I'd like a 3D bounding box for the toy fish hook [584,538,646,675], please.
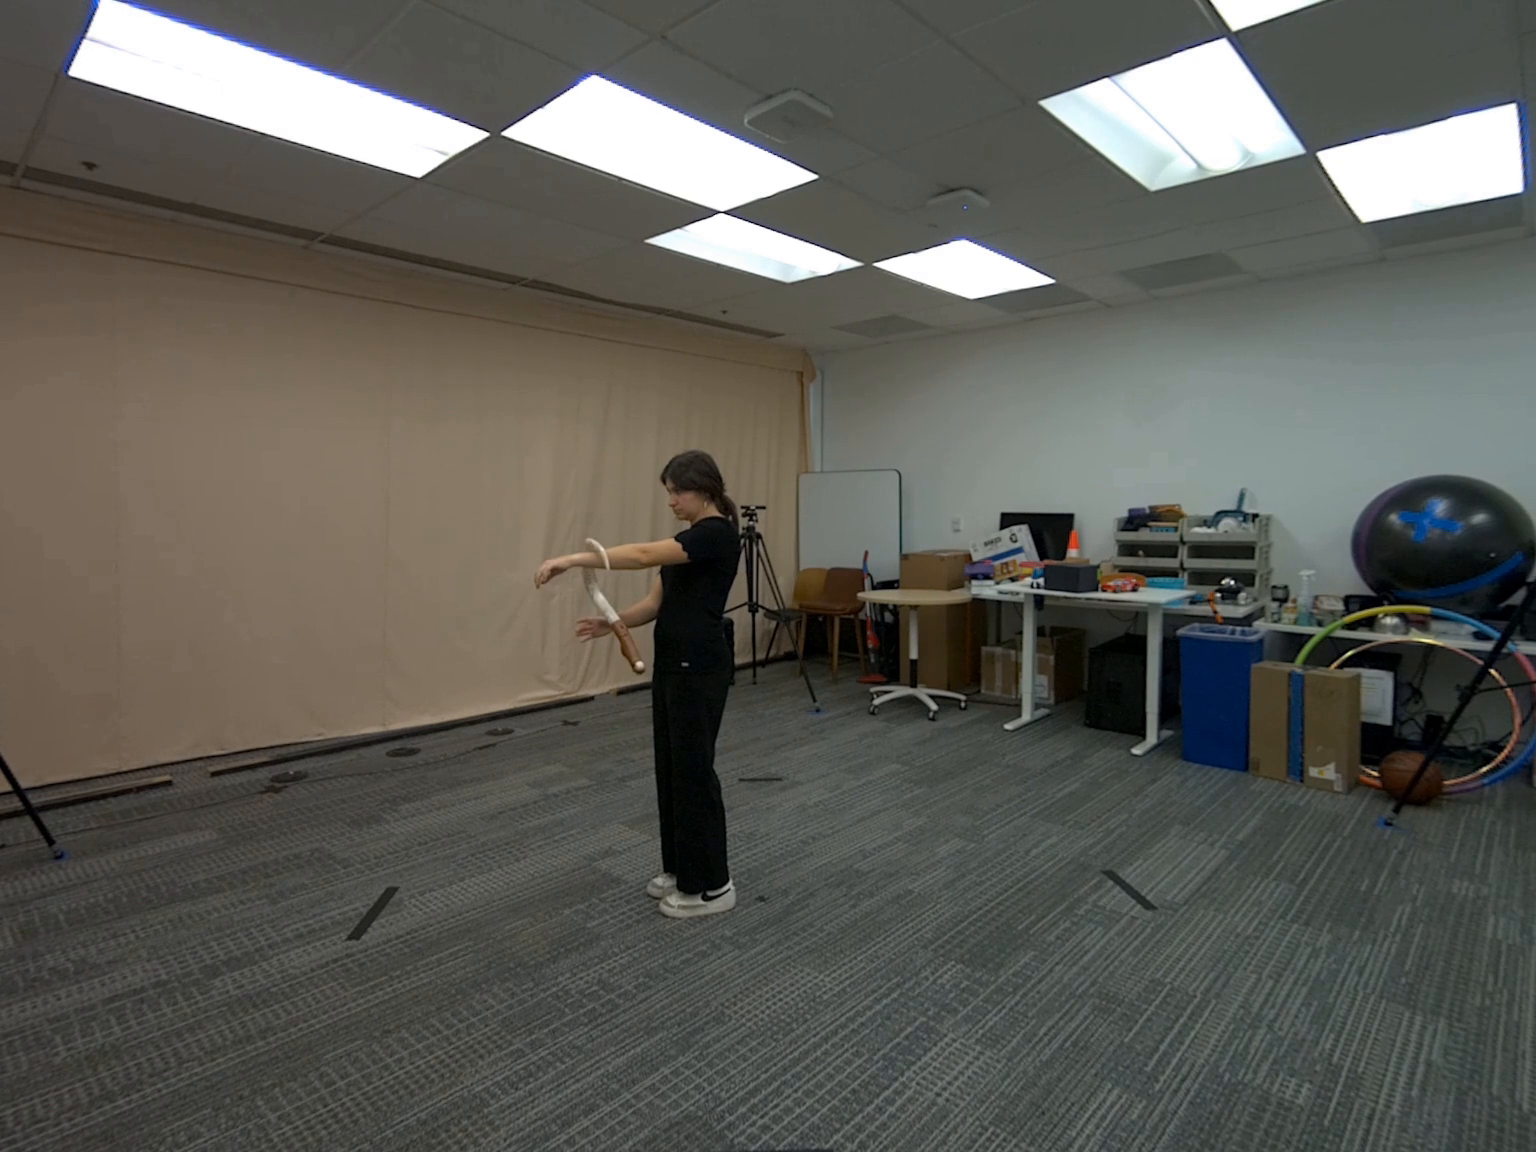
[{"bbox_3d":[-0.500,0.090,2.643,0.047,0.222,0.523,-14,49,-24],"label":"toy fish hook"}]
